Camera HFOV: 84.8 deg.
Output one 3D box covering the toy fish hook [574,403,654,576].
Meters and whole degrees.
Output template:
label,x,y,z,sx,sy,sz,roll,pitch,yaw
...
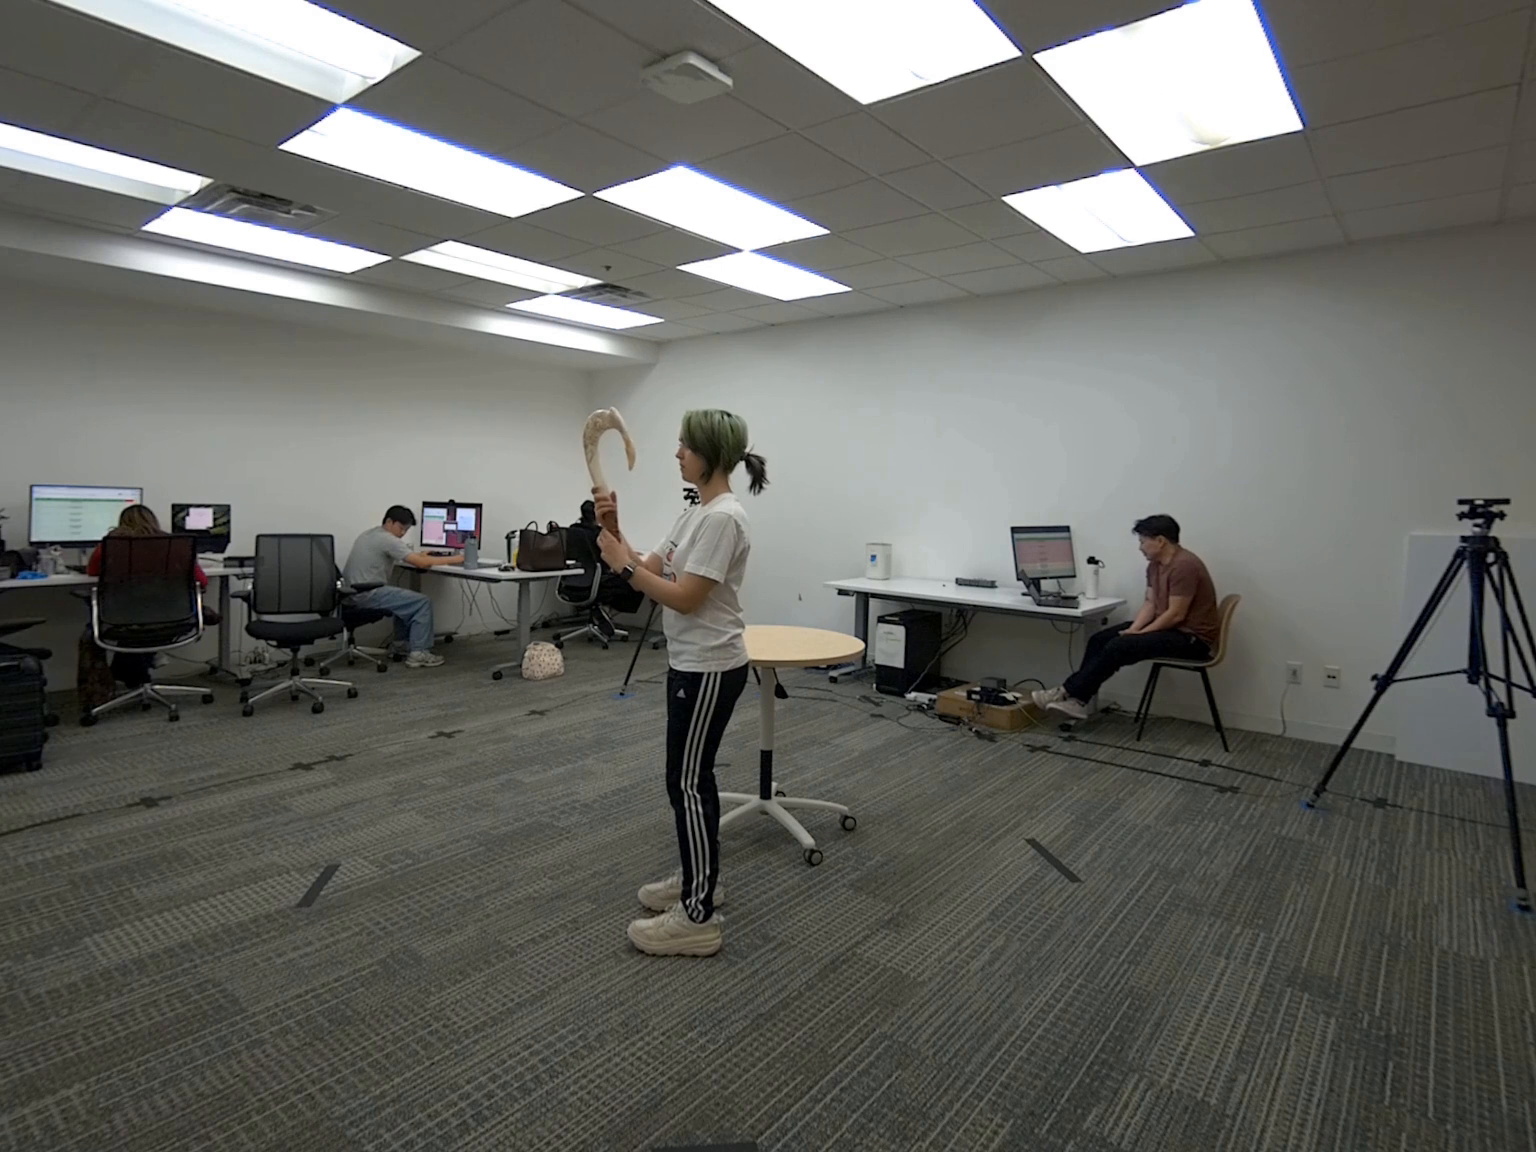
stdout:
label,x,y,z,sx,sy,sz,roll,pitch,yaw
toy fish hook,-0.477,-0.261,2.597,0.231,0.505,0.047,-6,3,45
